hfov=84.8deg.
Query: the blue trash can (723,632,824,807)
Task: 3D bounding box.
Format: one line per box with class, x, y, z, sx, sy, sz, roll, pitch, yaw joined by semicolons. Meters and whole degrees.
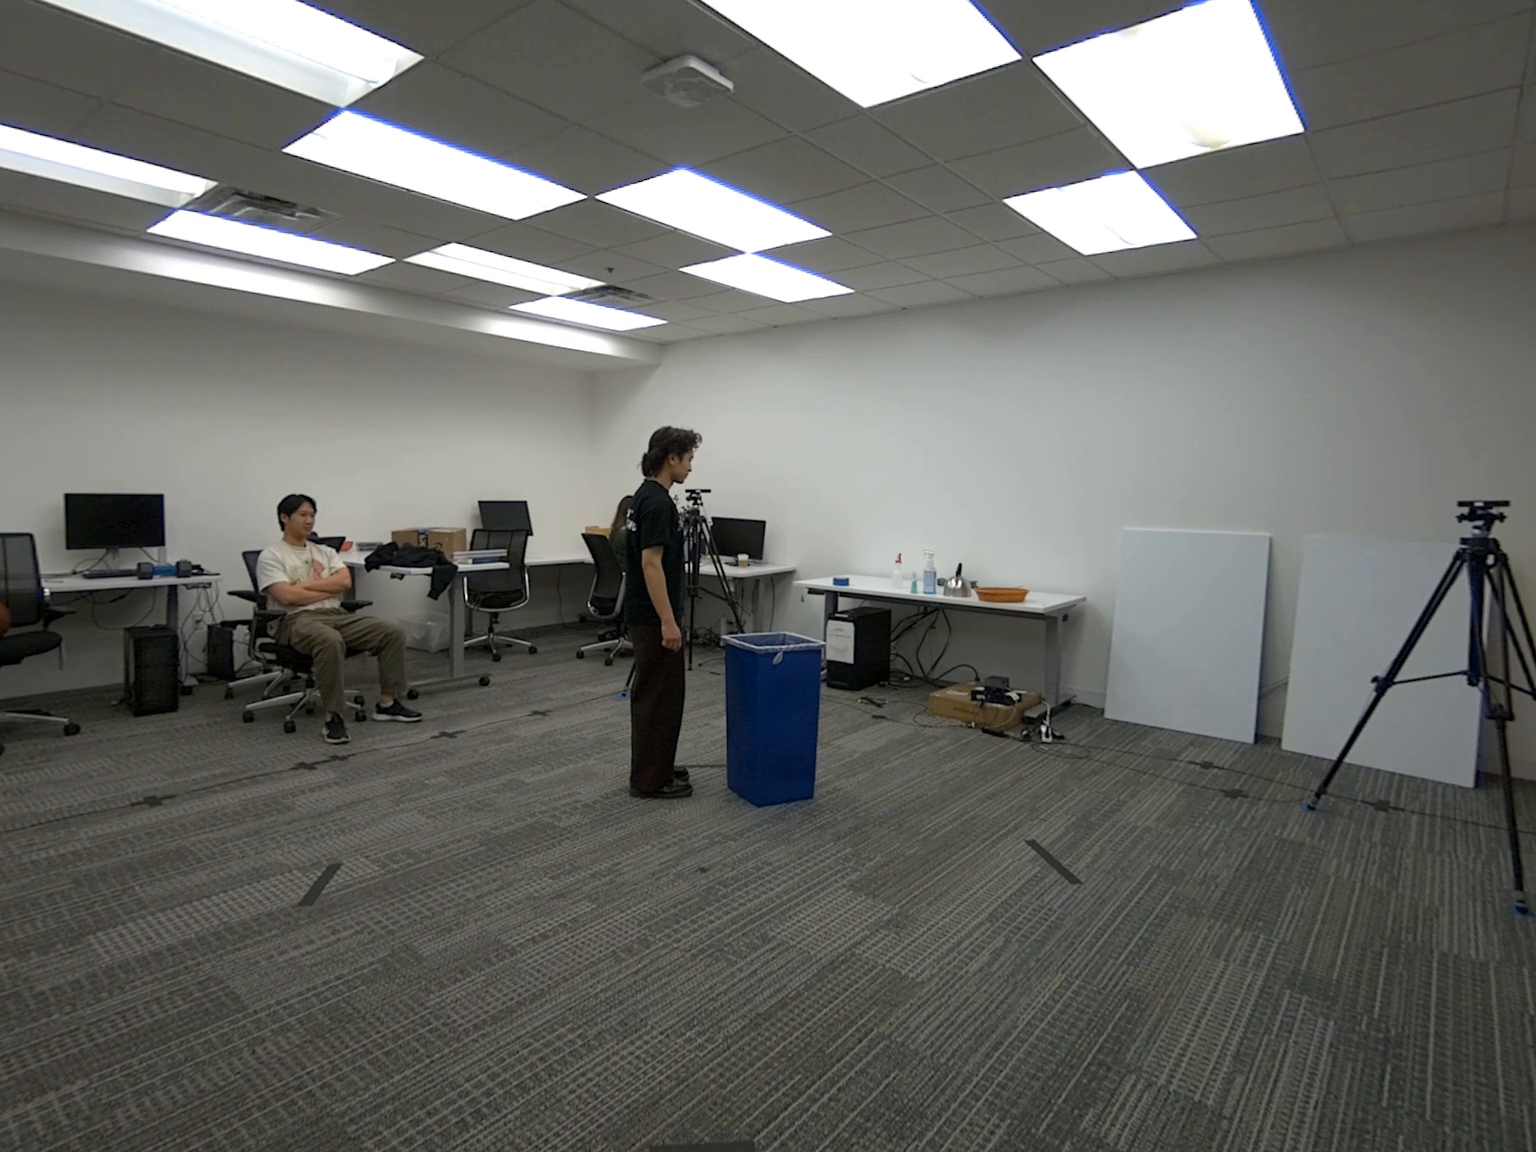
blue trash can;-0.003;0.643;3.931;0.368;0.712;0.385;0;3;-31
